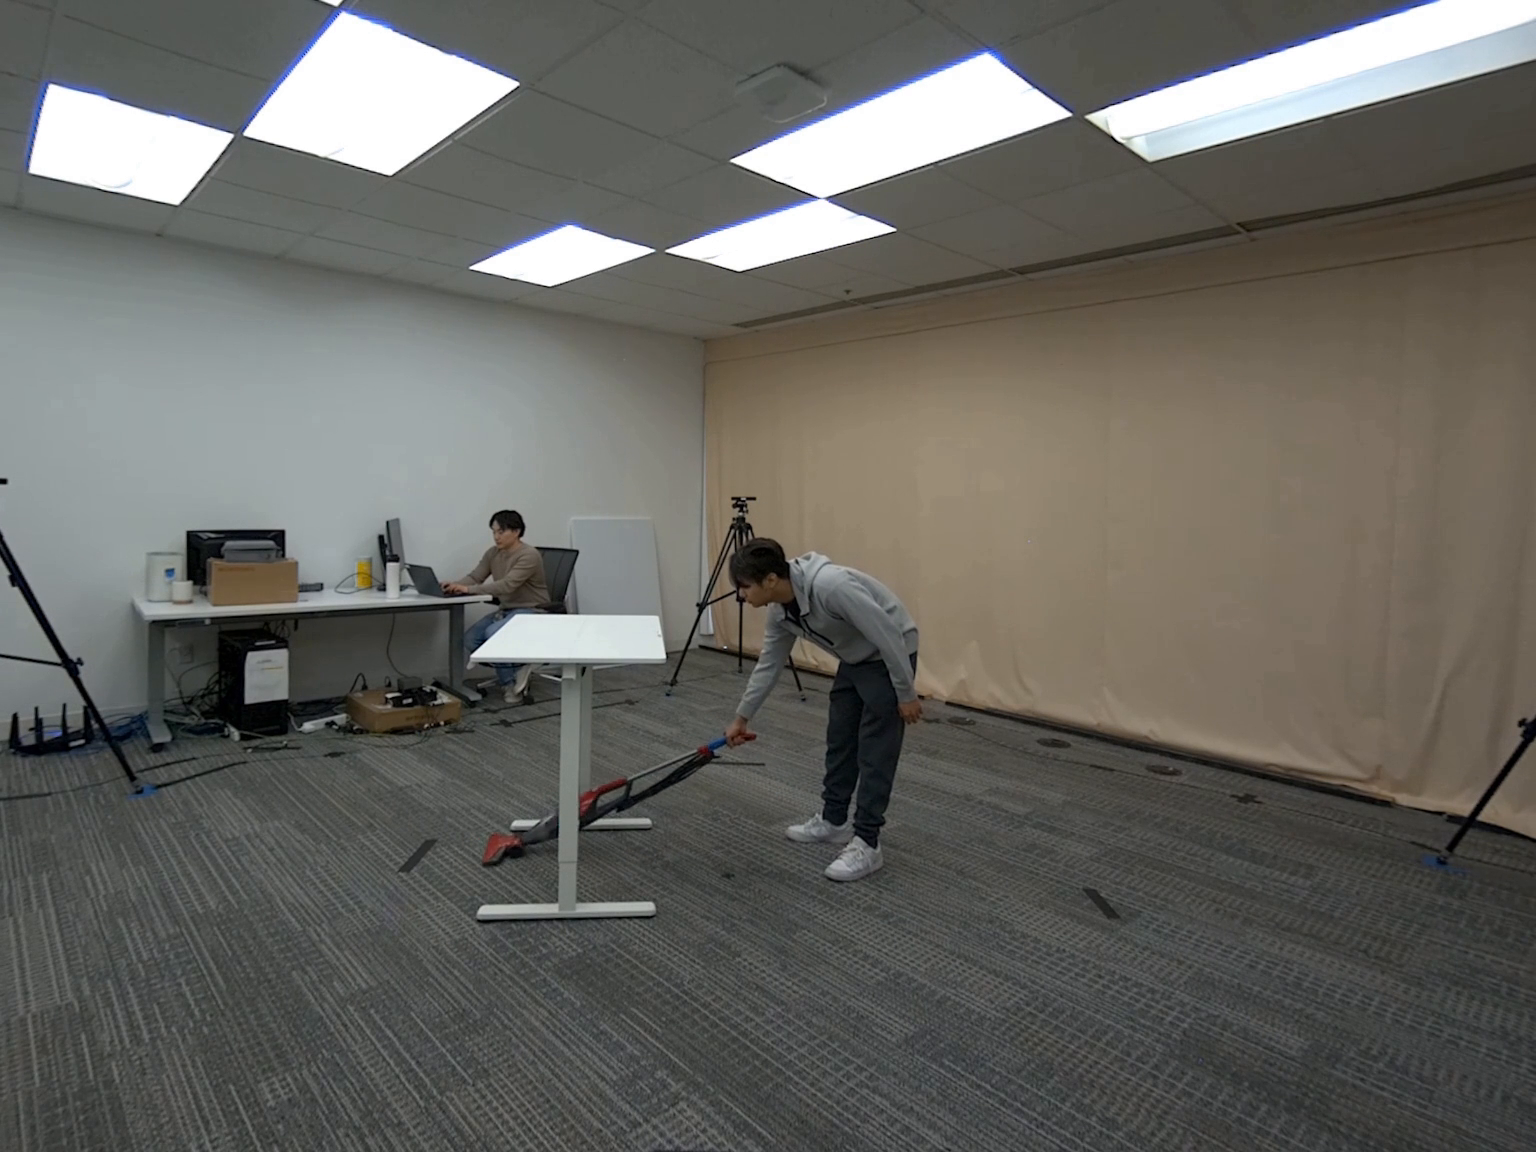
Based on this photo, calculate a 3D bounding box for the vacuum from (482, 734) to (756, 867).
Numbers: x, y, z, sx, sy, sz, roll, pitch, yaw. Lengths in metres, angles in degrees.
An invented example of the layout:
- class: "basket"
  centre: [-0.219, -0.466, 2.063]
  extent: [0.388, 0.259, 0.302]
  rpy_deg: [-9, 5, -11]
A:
- class: "vacuum"
  centre: [-0.557, 0.850, 3.325]
  extent: [1.046, 0.142, 0.256]
  rpy_deg: [-23, 12, -7]
